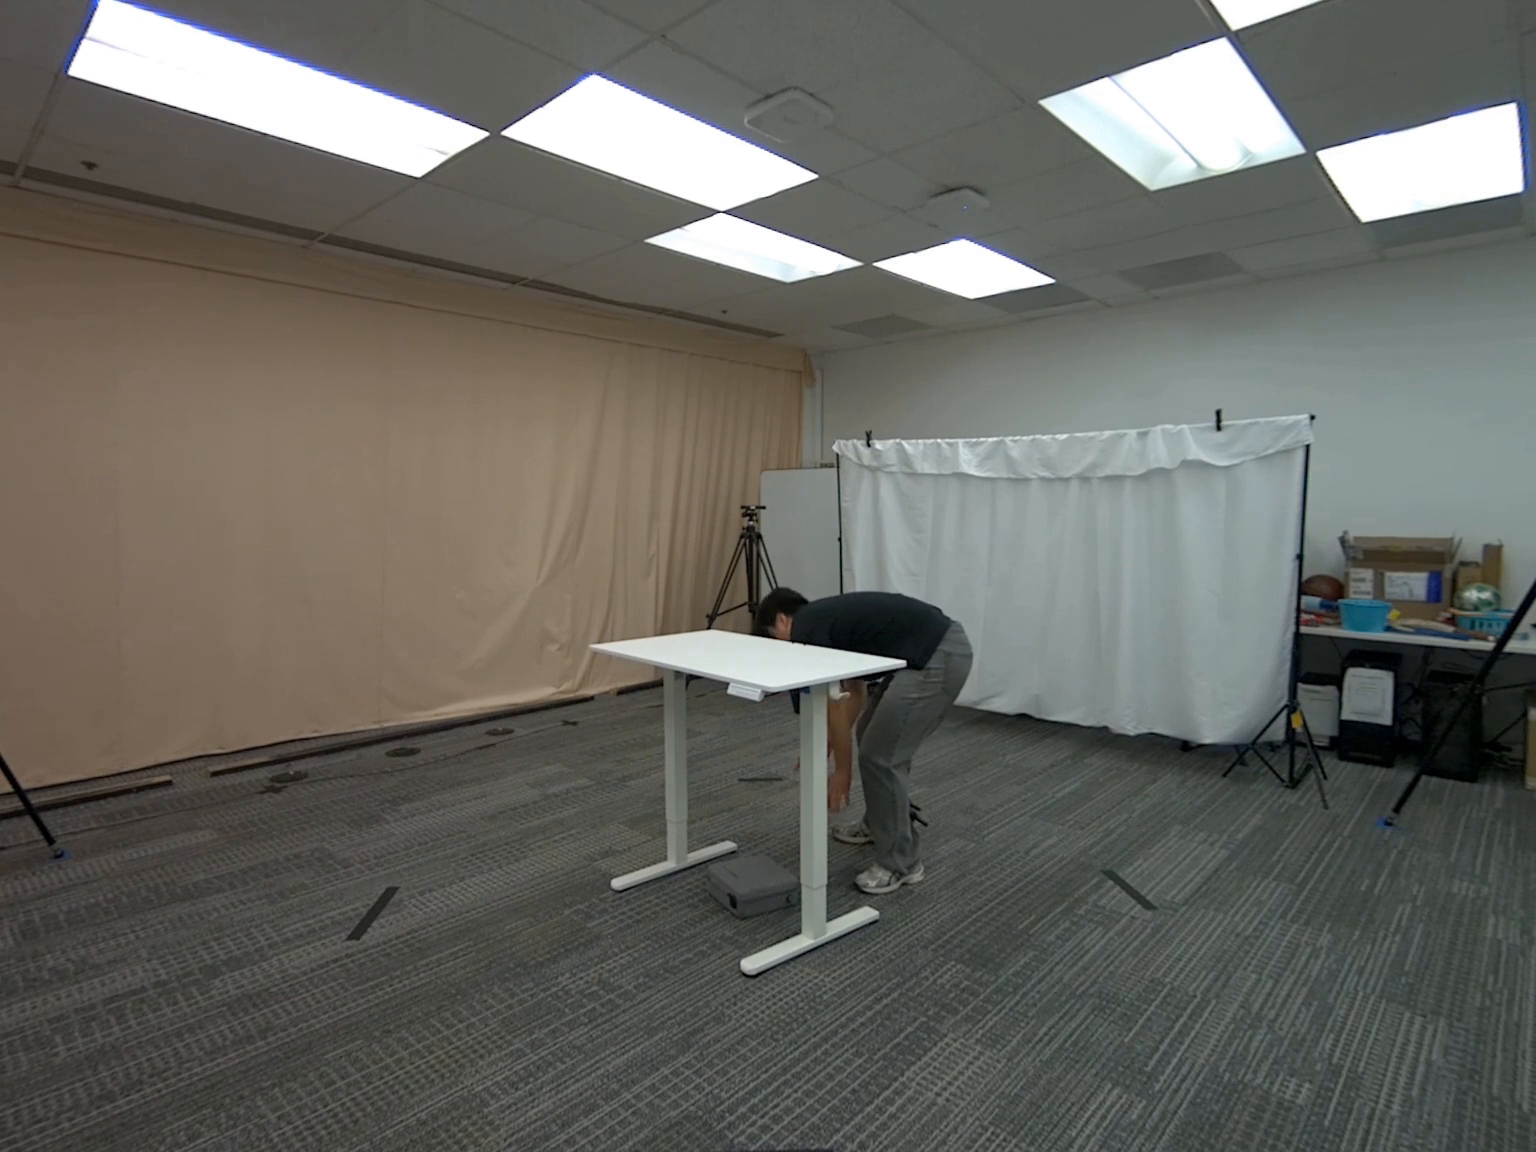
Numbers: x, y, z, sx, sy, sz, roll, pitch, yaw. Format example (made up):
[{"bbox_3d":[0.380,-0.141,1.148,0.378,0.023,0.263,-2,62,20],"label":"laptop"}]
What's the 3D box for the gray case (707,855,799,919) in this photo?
[{"bbox_3d":[-0.059,1.088,2.972,0.279,0.103,0.271,-3,6,-31],"label":"gray case"}]
